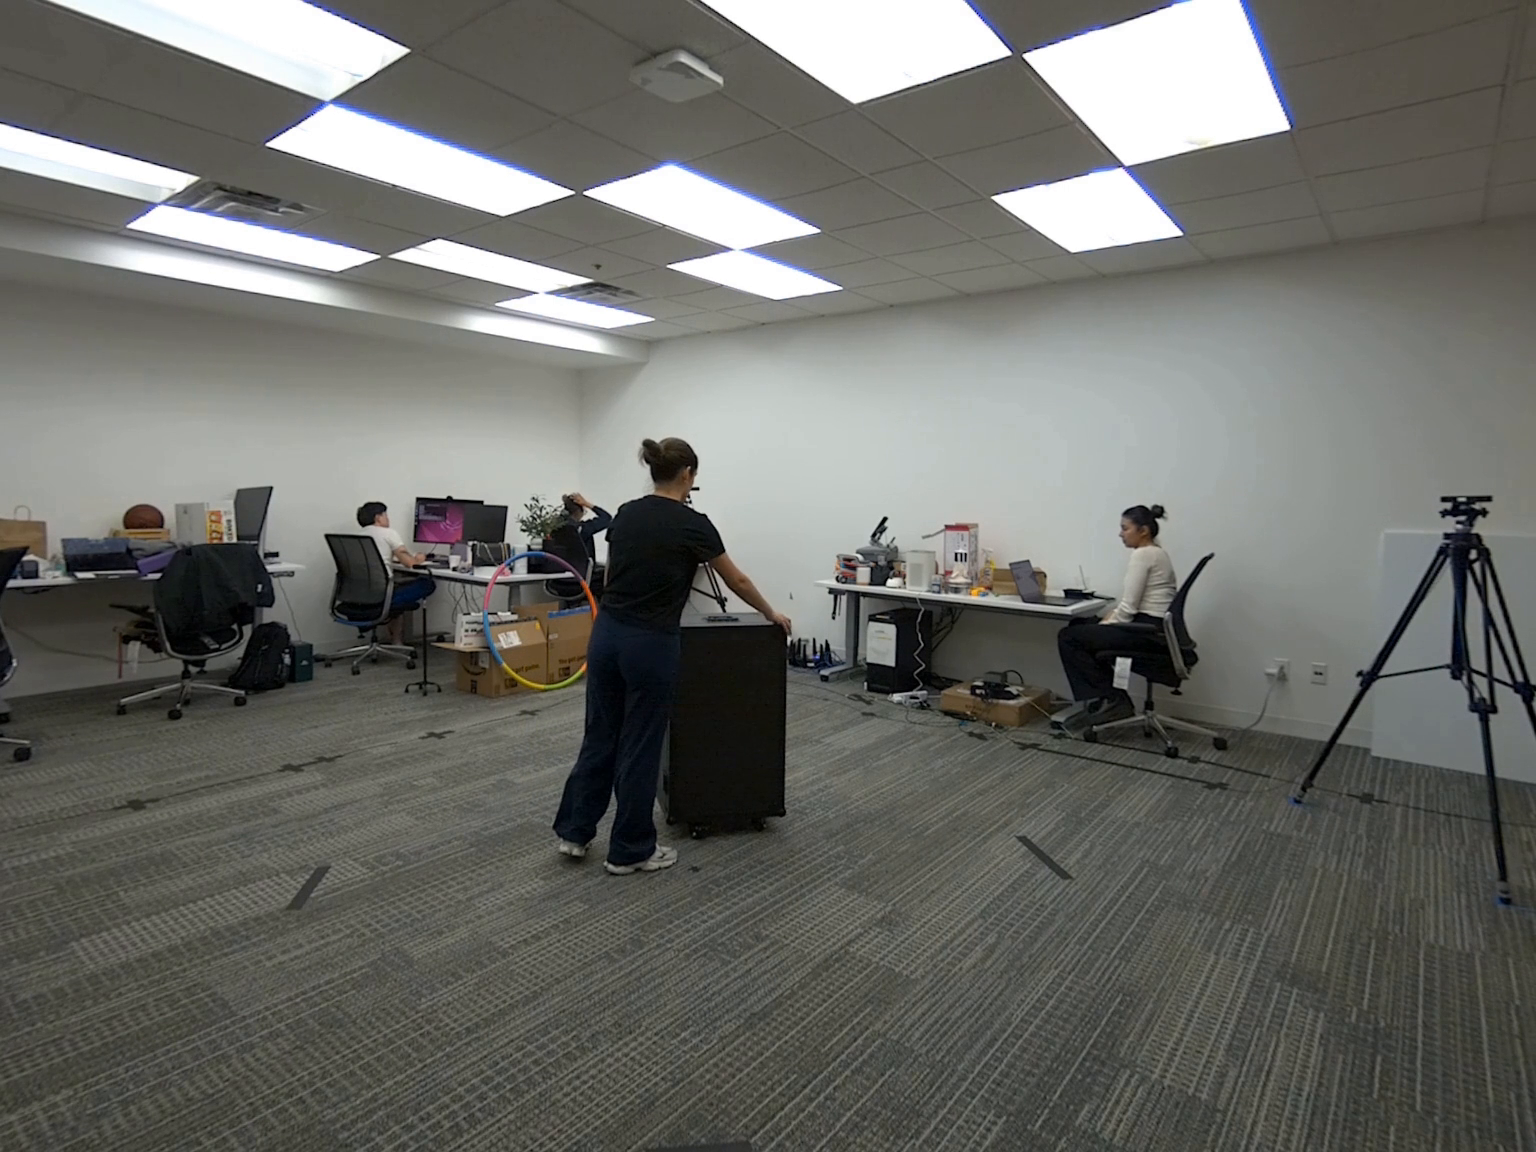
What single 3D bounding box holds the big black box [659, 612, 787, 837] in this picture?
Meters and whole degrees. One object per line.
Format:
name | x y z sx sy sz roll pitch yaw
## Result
big black box | -0.198 0.594 3.556 0.514 0.860 0.403 0 2 -14
